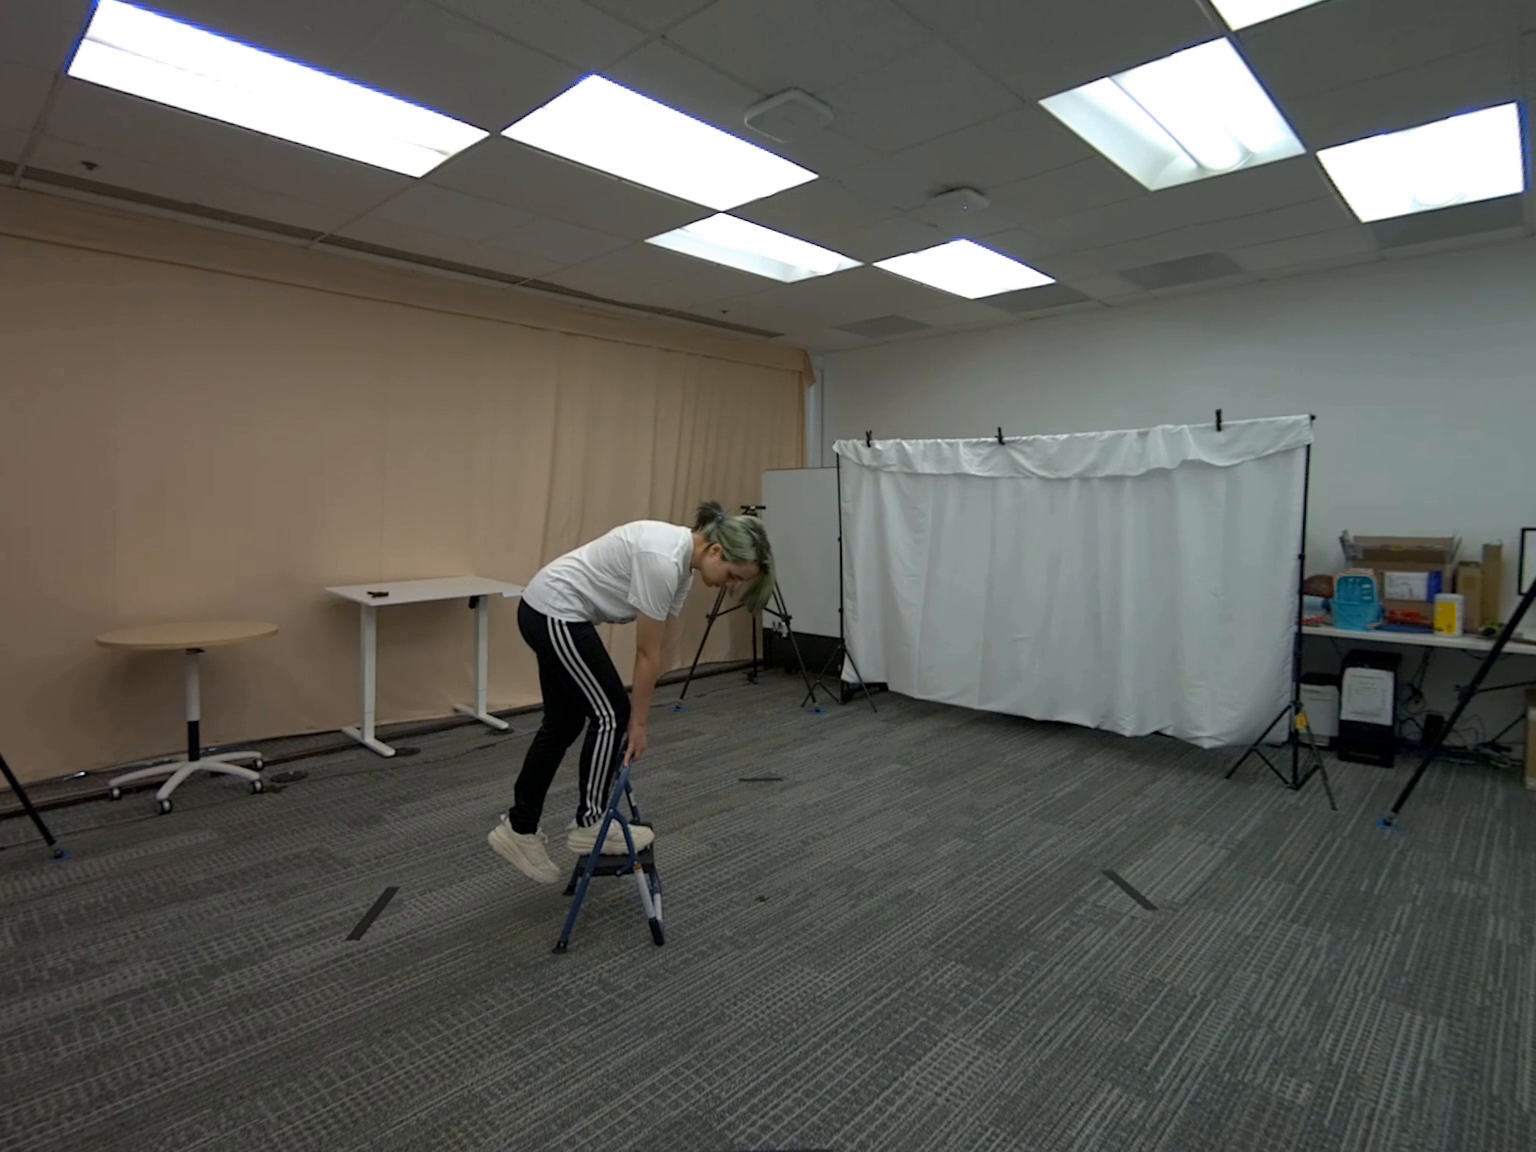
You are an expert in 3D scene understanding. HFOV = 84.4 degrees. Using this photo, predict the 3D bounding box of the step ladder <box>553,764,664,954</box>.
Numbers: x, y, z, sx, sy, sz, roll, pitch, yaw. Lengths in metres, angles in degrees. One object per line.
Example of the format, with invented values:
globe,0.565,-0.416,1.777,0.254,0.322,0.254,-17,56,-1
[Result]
step ladder,-0.532,0.862,2.837,0.347,0.605,0.435,-1,3,-8
